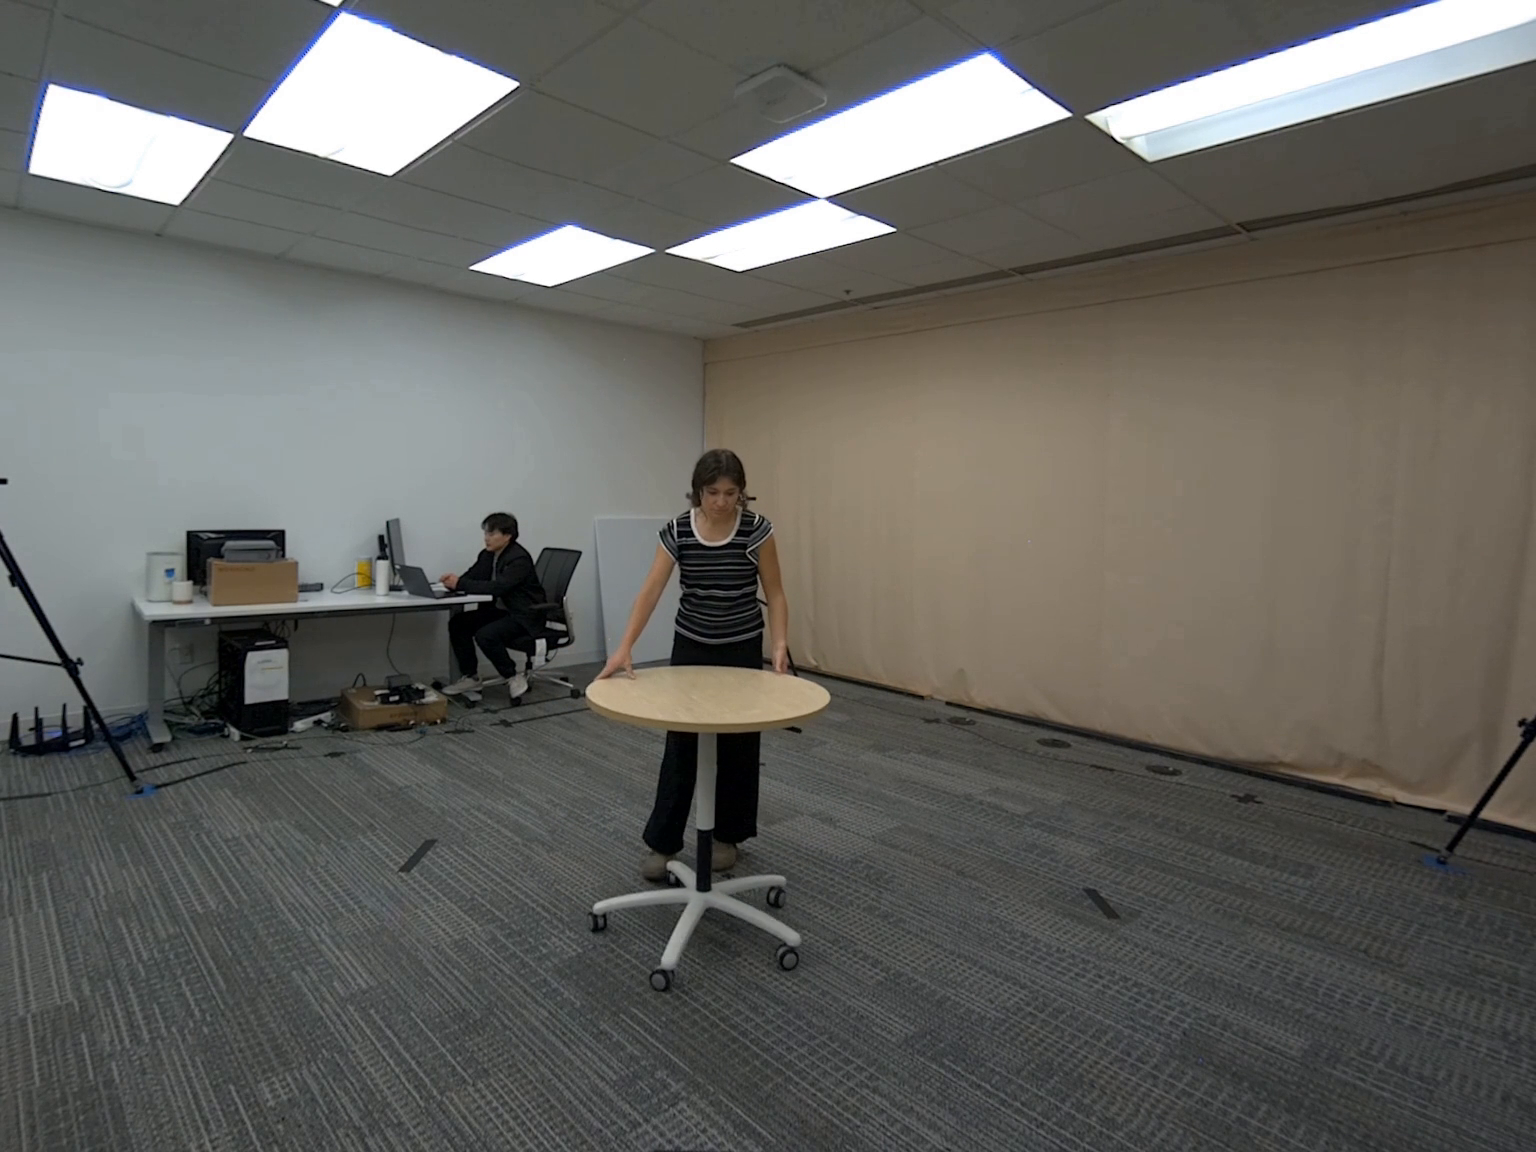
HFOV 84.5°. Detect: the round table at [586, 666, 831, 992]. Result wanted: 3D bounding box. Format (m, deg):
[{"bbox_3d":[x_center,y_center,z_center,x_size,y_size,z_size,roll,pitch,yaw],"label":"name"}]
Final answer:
[{"bbox_3d":[-0.194,0.752,2.676,0.784,0.784,0.788,1,4,-1],"label":"round table"}]
